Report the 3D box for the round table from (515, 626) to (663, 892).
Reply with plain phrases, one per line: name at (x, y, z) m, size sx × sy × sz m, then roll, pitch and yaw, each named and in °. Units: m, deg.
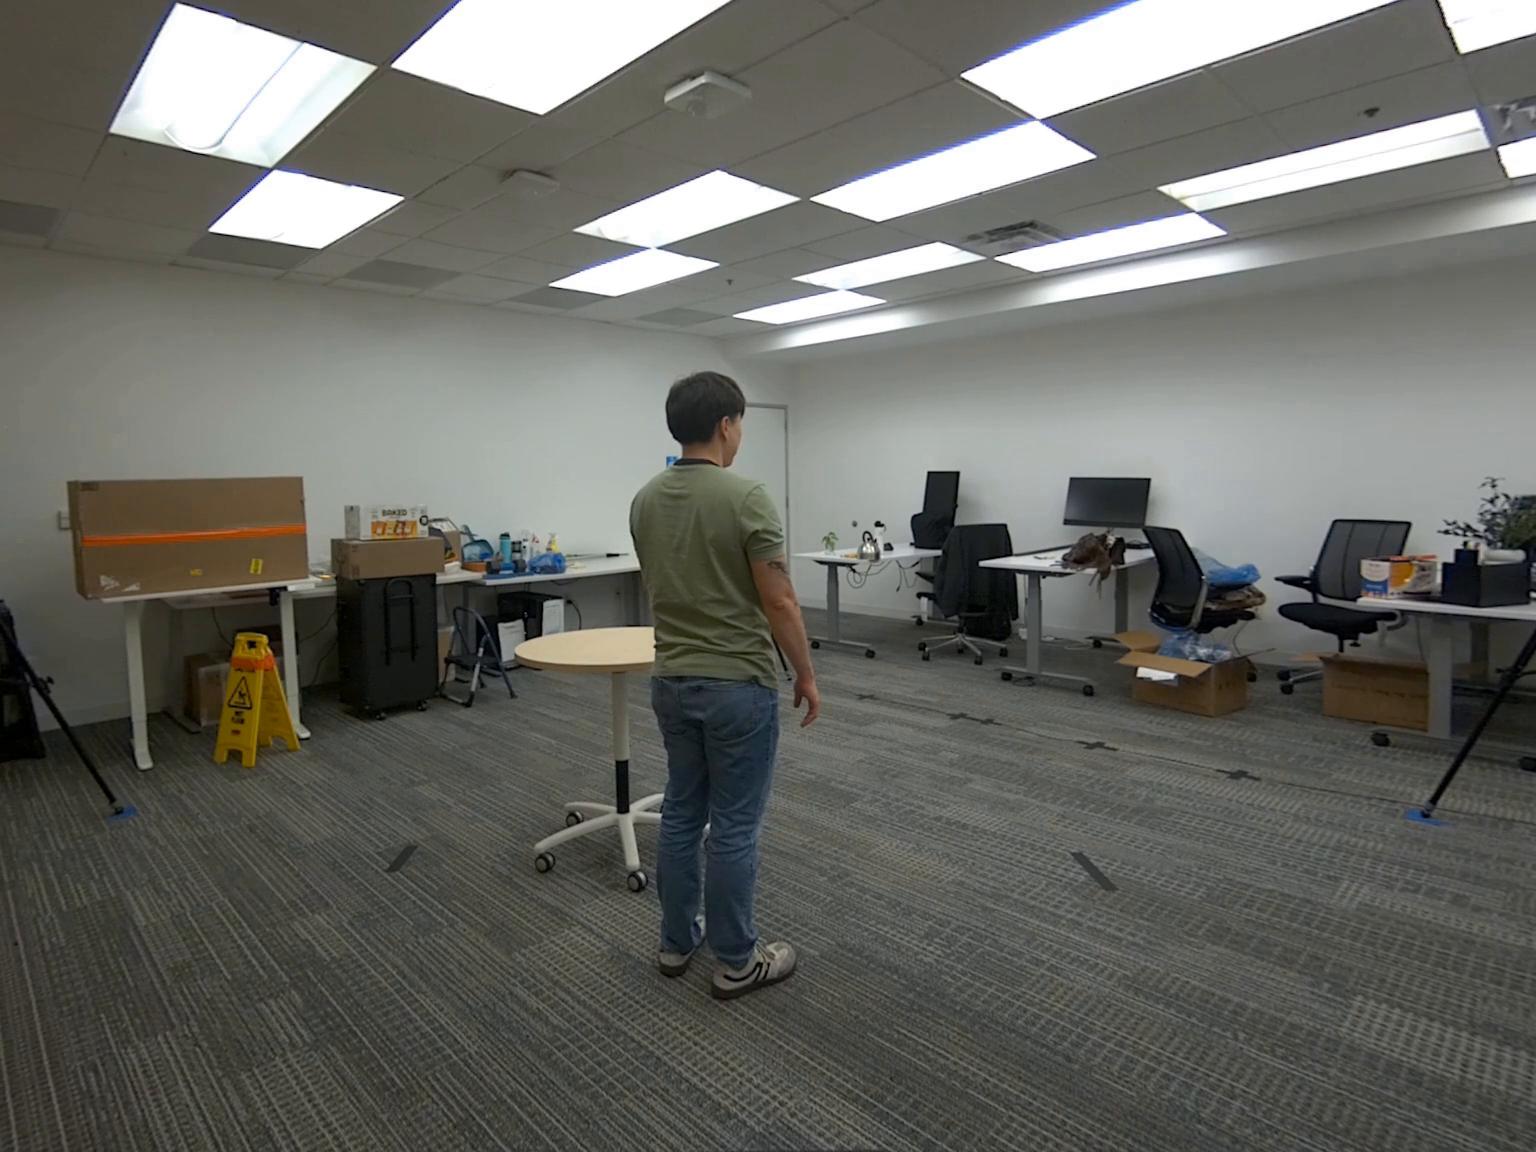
round table at (-0.553, 0.649, 3.239) m, size 0.763 × 0.791 × 0.767 m, roll -2°, pitch 4°, yaw -2°
